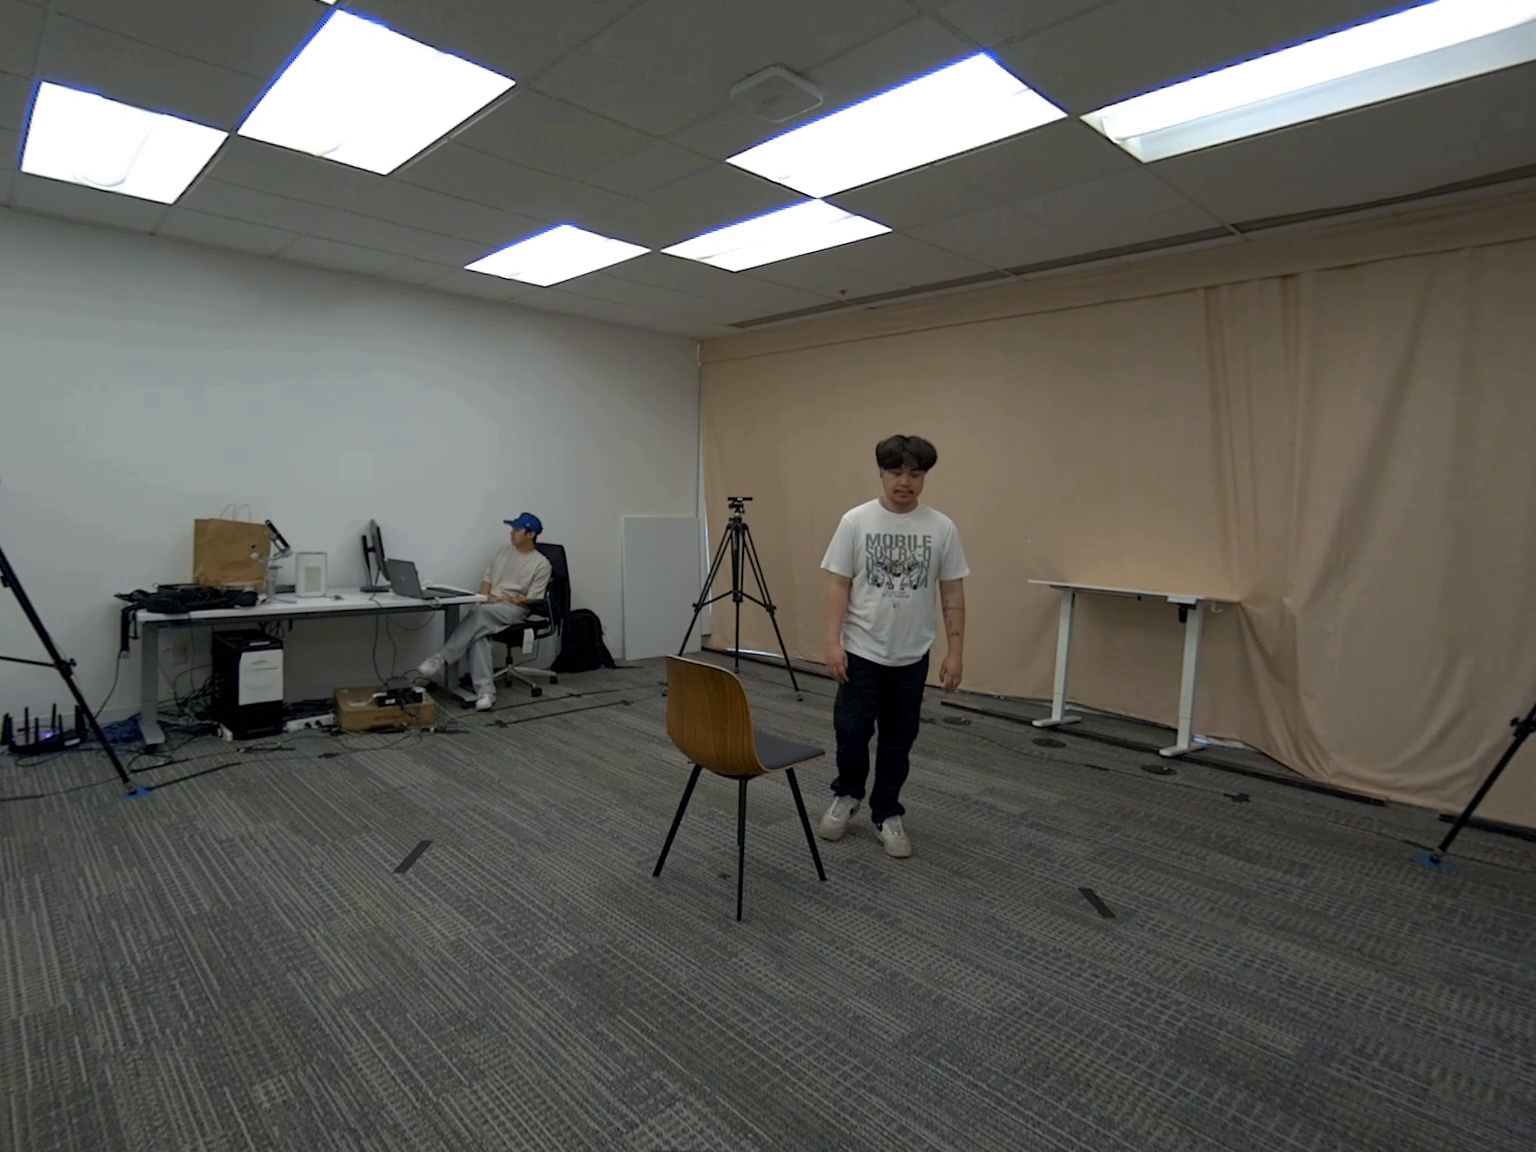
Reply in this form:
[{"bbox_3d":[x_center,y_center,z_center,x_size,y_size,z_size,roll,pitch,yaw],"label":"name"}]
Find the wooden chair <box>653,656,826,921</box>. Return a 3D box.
[{"bbox_3d":[-0.093,0.684,3.060,0.490,0.873,0.512,5,9,44],"label":"wooden chair"}]
